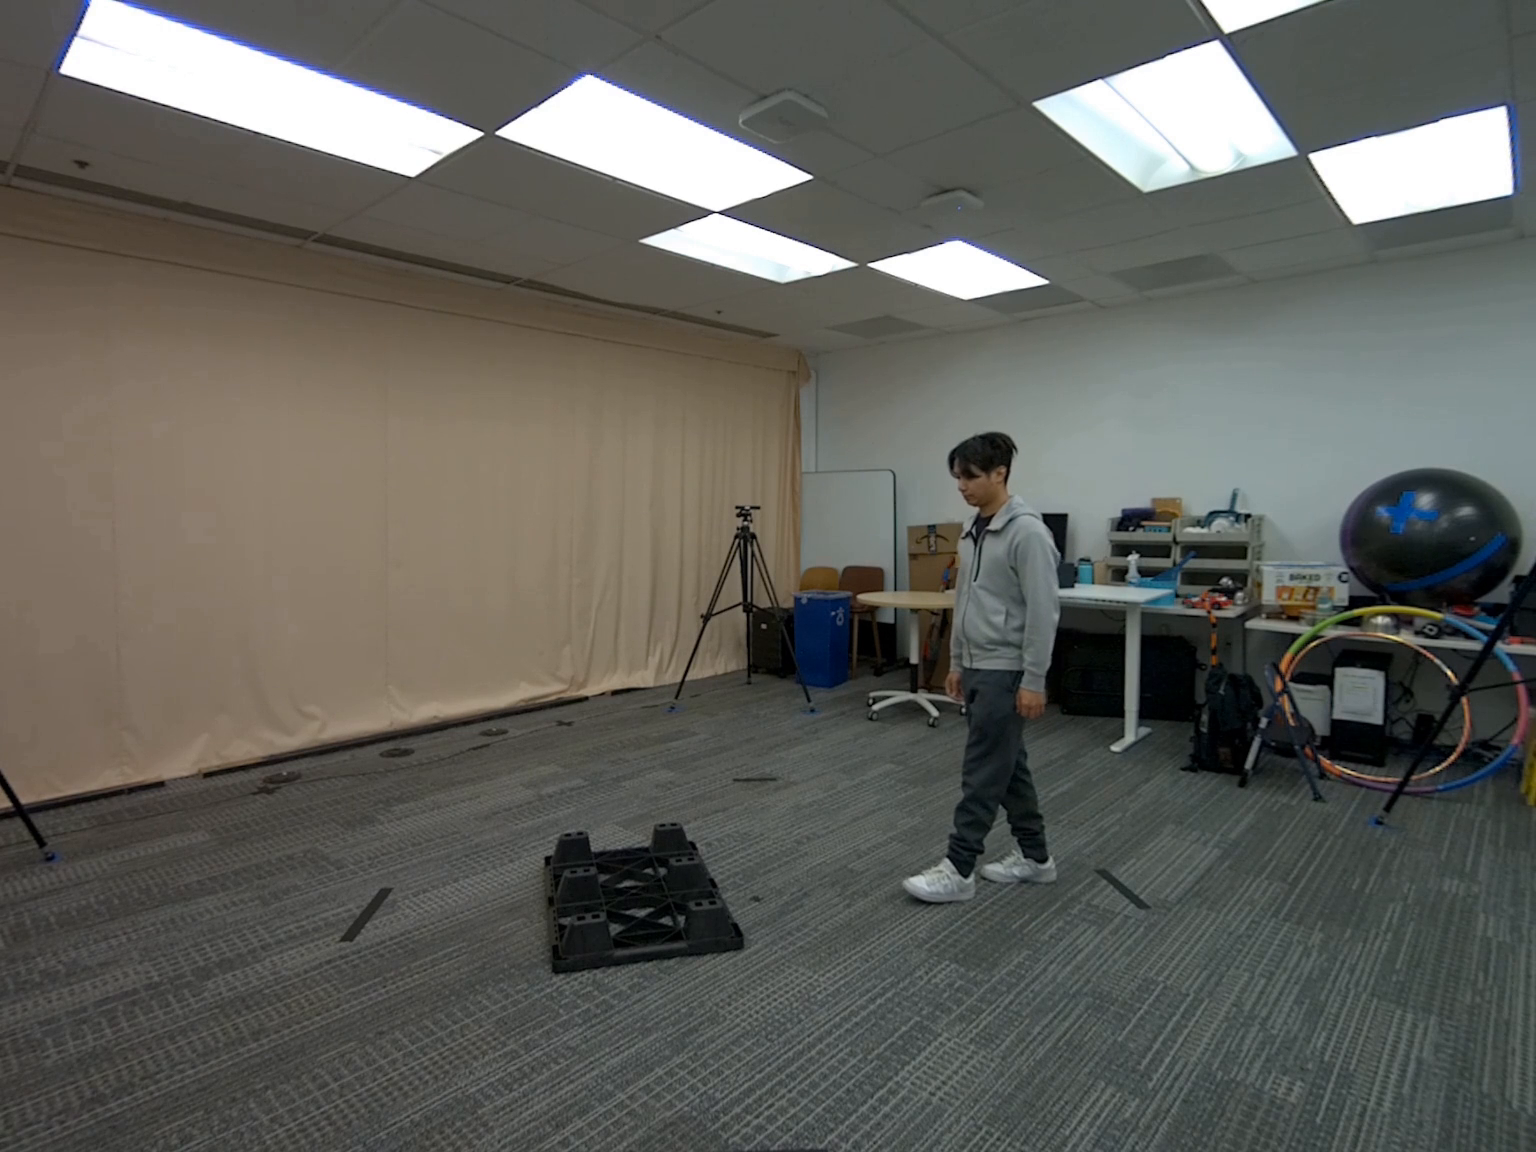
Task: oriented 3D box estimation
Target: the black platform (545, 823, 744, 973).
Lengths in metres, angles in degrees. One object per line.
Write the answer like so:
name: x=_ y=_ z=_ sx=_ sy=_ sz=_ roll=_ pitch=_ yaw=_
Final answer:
black platform: x=-0.465 y=1.084 z=2.955 sx=0.596 sy=0.143 sz=0.820 roll=-2 pitch=5 yaw=-16
